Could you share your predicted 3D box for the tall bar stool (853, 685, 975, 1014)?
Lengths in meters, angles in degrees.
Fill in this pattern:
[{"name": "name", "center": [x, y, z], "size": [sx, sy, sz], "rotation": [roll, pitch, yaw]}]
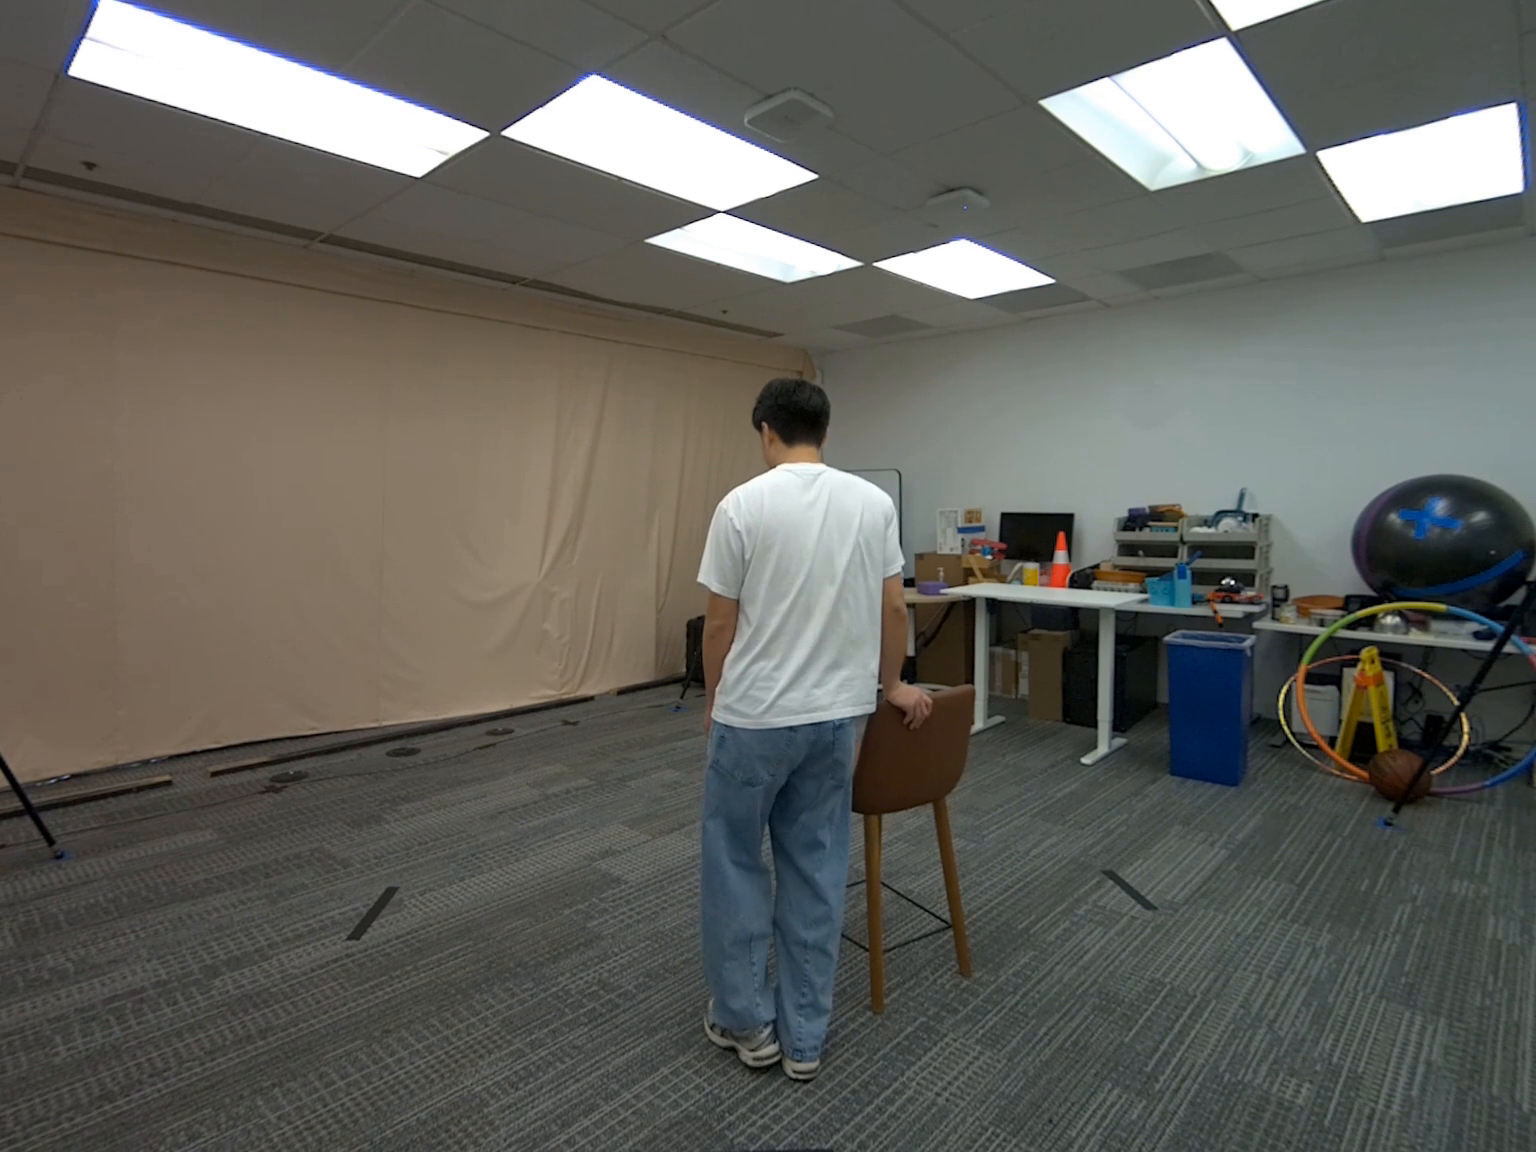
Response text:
[{"name": "tall bar stool", "center": [0.339, 0.743, 2.560], "size": [0.443, 0.887, 0.482], "rotation": [-2, 5, -34]}]
